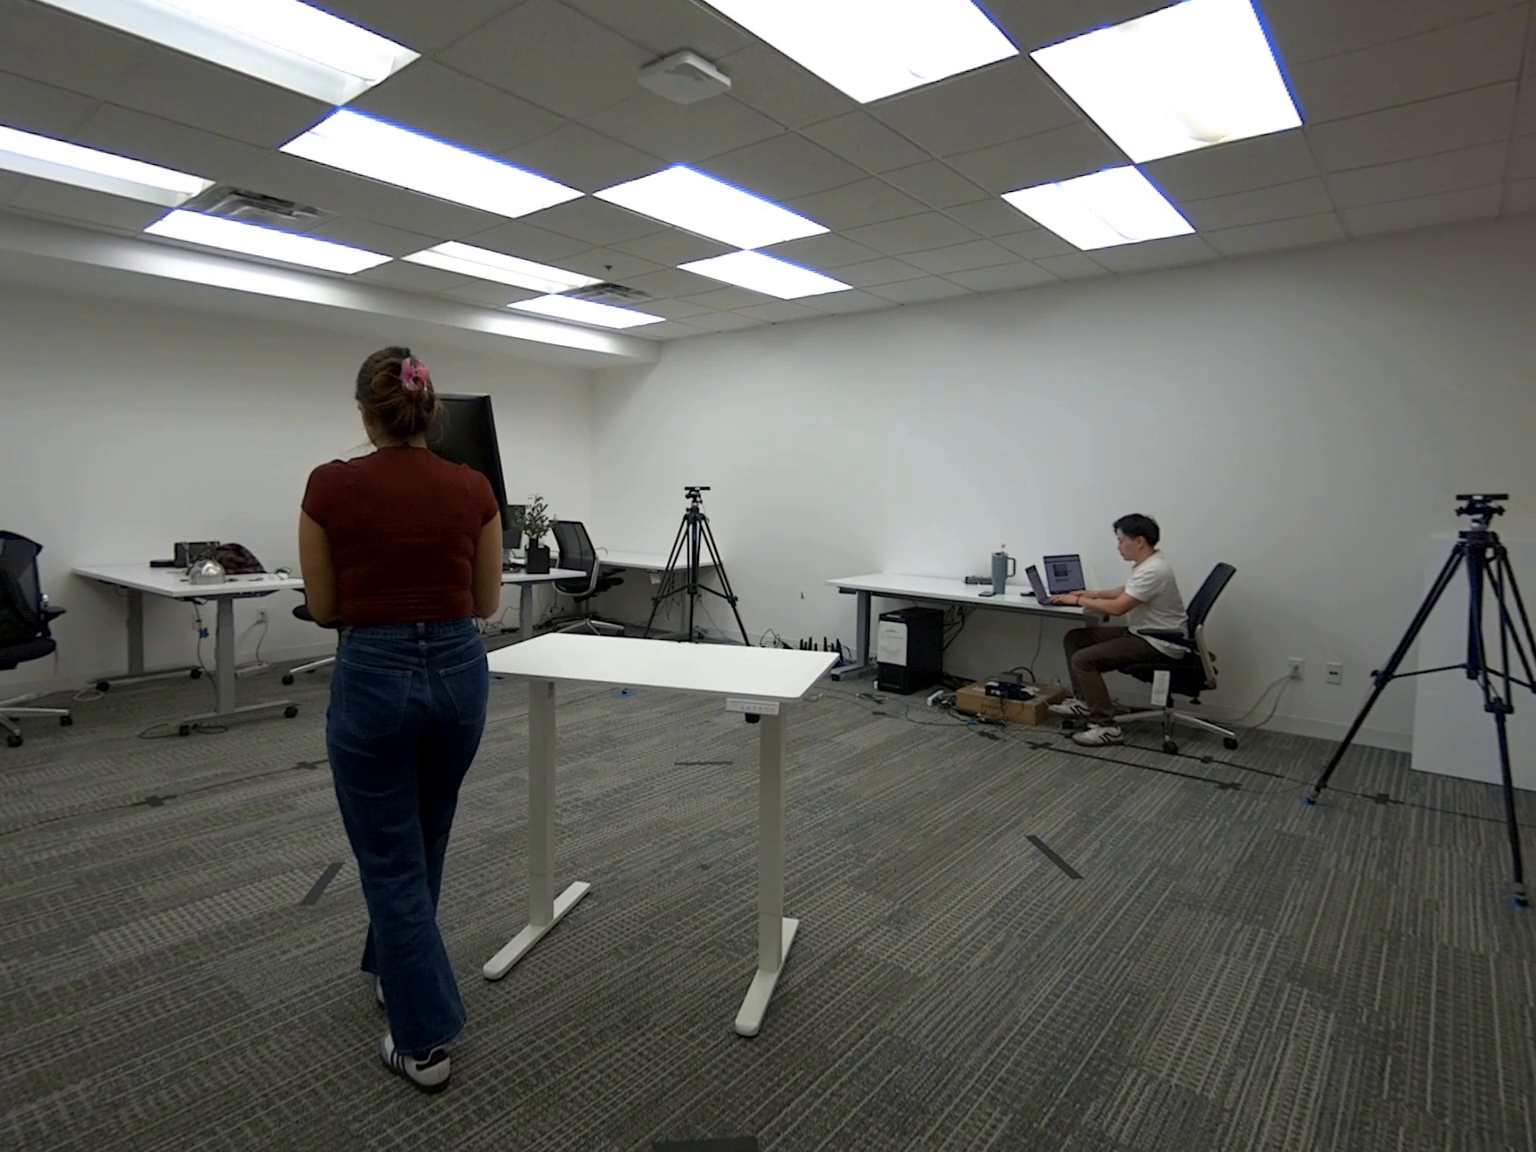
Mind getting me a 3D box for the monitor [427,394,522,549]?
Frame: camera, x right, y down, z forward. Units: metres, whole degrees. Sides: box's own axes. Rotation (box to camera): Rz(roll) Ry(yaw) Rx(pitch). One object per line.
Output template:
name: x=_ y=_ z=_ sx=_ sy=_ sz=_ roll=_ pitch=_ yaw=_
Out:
monitor: x=-0.930 y=-0.233 z=2.293 sx=0.557 sy=0.519 sz=0.182 roll=10 pitch=8 yaw=32
